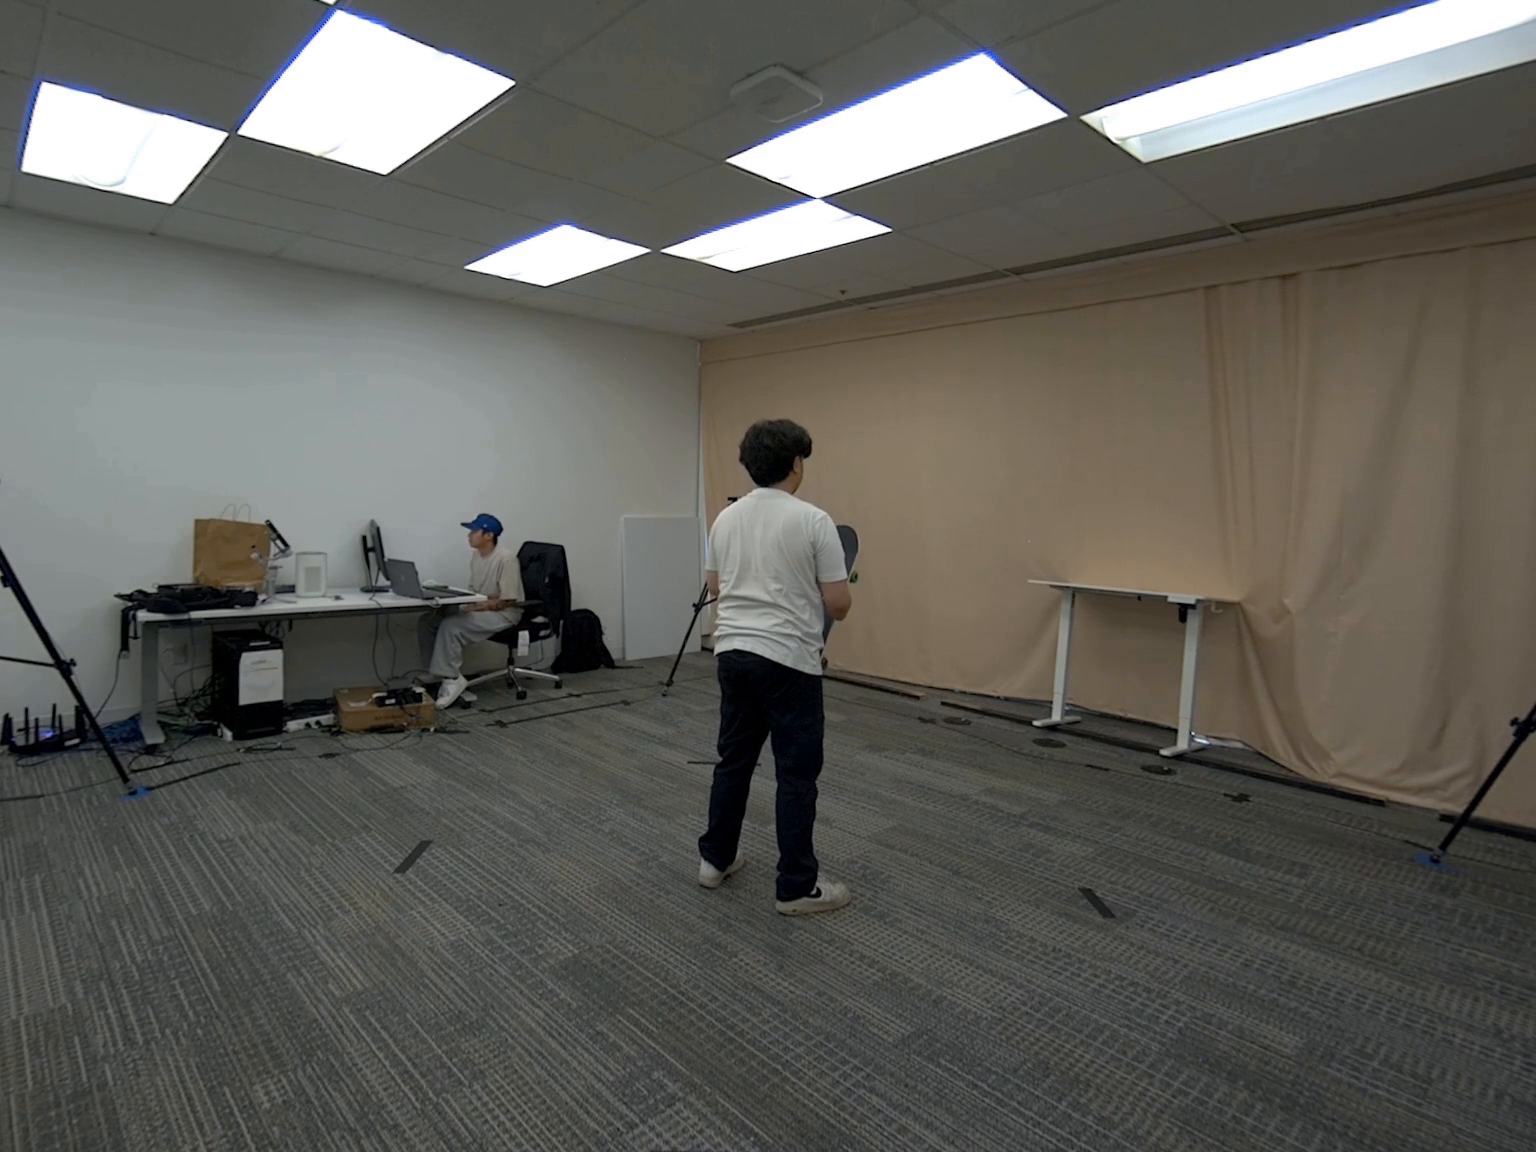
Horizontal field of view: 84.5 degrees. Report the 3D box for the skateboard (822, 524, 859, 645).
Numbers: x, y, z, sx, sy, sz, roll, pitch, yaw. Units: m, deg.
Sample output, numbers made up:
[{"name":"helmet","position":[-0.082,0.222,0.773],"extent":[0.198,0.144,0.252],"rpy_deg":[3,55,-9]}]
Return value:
[{"name":"skateboard","position":[0.194,0.151,3.268],"extent":[0.197,0.793,0.107],"rpy_deg":[1,-35,30]}]
